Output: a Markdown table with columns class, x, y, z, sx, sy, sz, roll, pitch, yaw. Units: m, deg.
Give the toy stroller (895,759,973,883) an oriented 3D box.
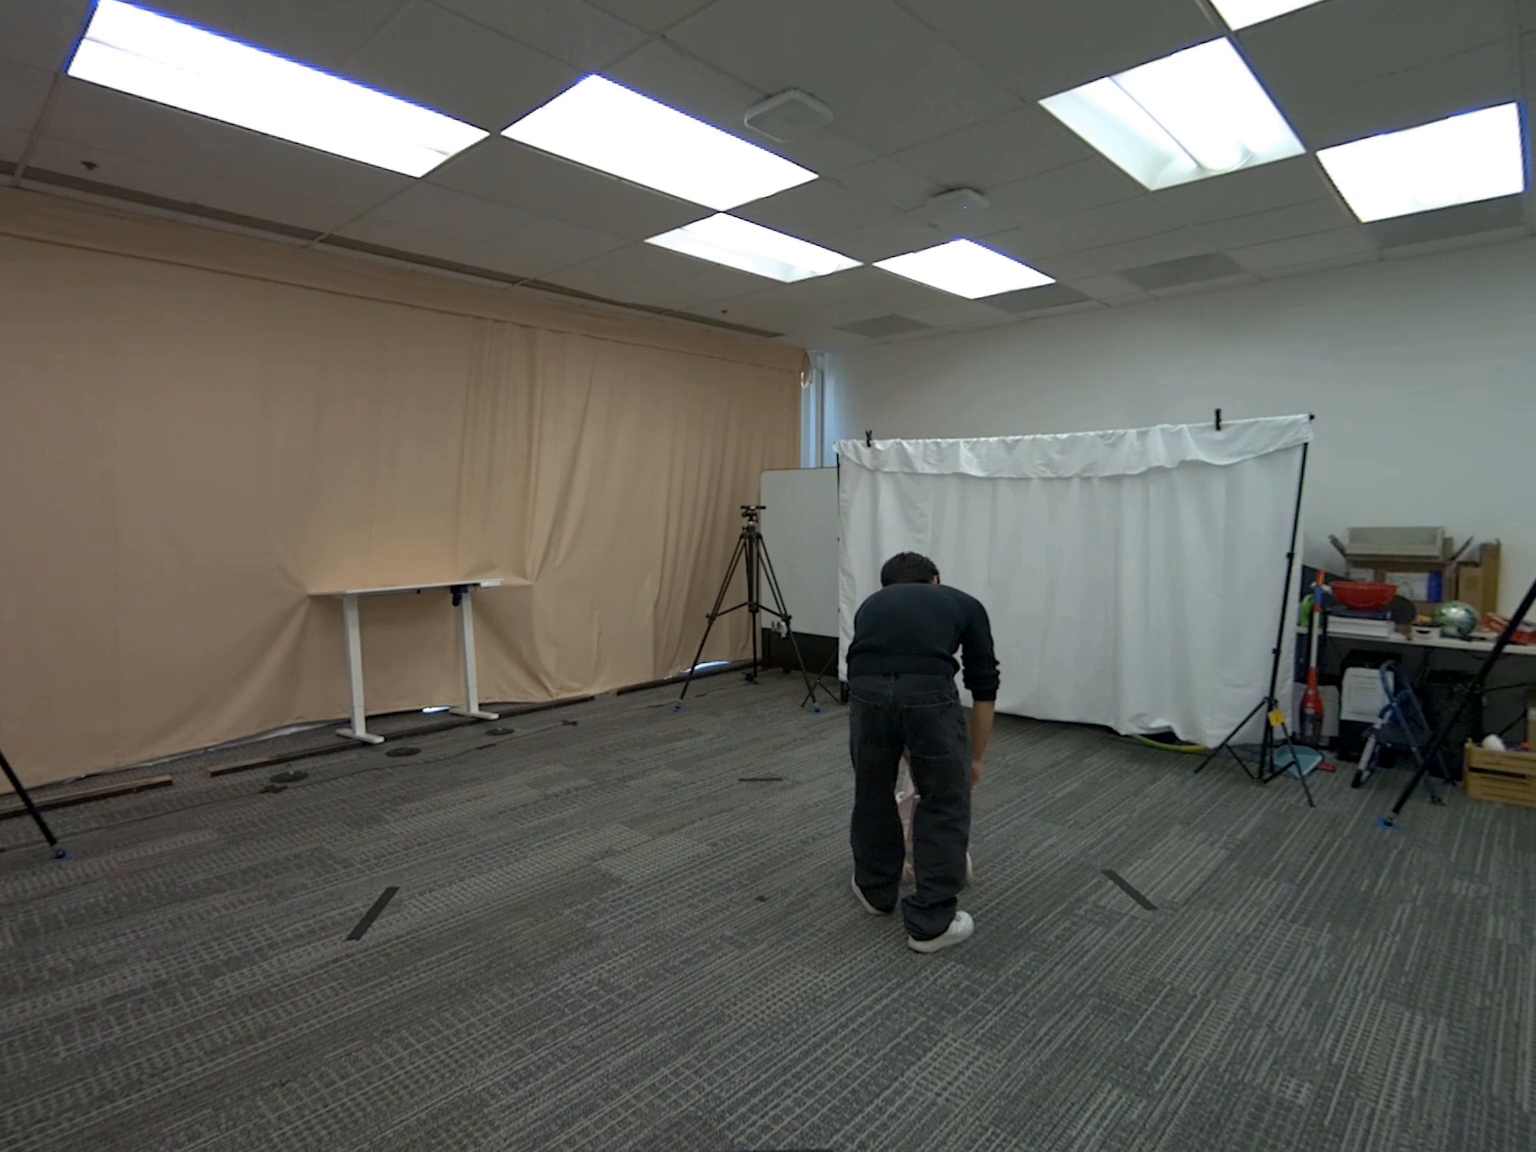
| class | x | y | z | sx | sy | sz | roll | pitch | yaw |
| --- | --- | --- | --- | --- | --- | --- | --- | --- | --- |
| toy stroller | 0.615 | 0.908 | 3.167 | 0.282 | 0.528 | 0.344 | 2 | 21 | 2 |
